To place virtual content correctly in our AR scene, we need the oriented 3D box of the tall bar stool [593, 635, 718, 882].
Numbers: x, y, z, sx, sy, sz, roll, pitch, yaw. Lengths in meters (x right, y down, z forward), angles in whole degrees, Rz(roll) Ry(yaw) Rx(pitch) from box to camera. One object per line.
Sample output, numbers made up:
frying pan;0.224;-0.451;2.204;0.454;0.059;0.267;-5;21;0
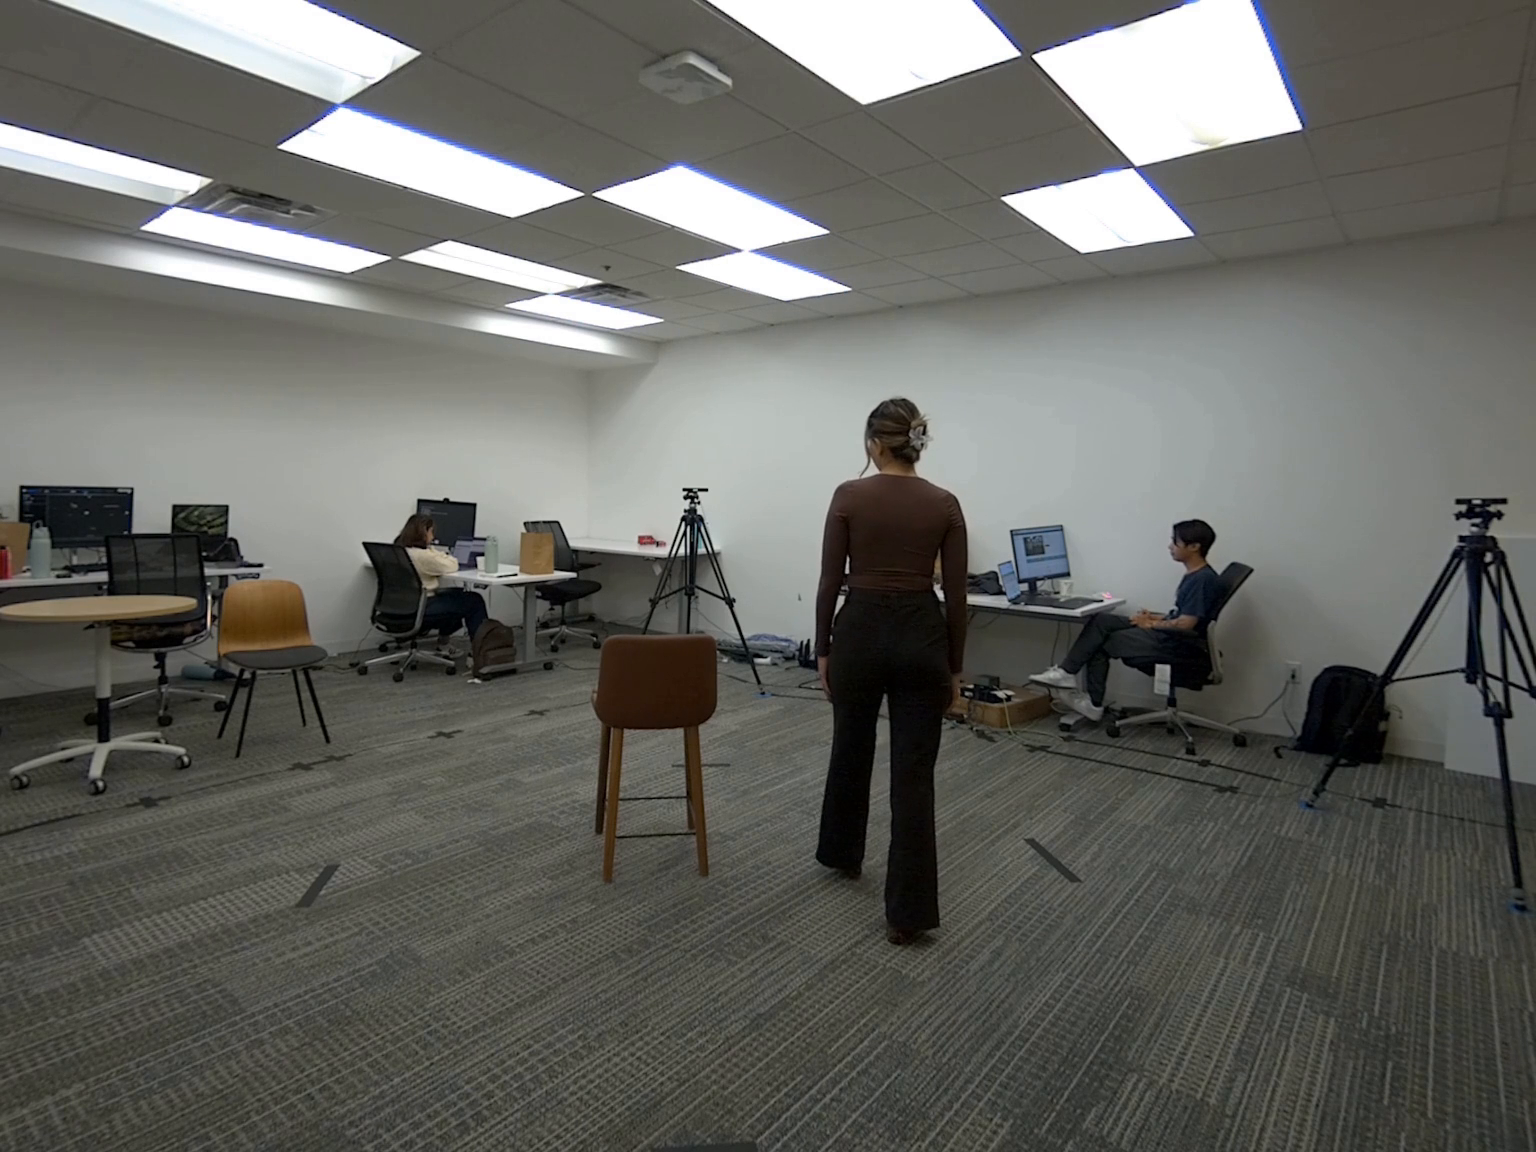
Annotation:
tall bar stool;-0.449;0.621;3.220;0.451;0.886;0.475;0;5;-12
